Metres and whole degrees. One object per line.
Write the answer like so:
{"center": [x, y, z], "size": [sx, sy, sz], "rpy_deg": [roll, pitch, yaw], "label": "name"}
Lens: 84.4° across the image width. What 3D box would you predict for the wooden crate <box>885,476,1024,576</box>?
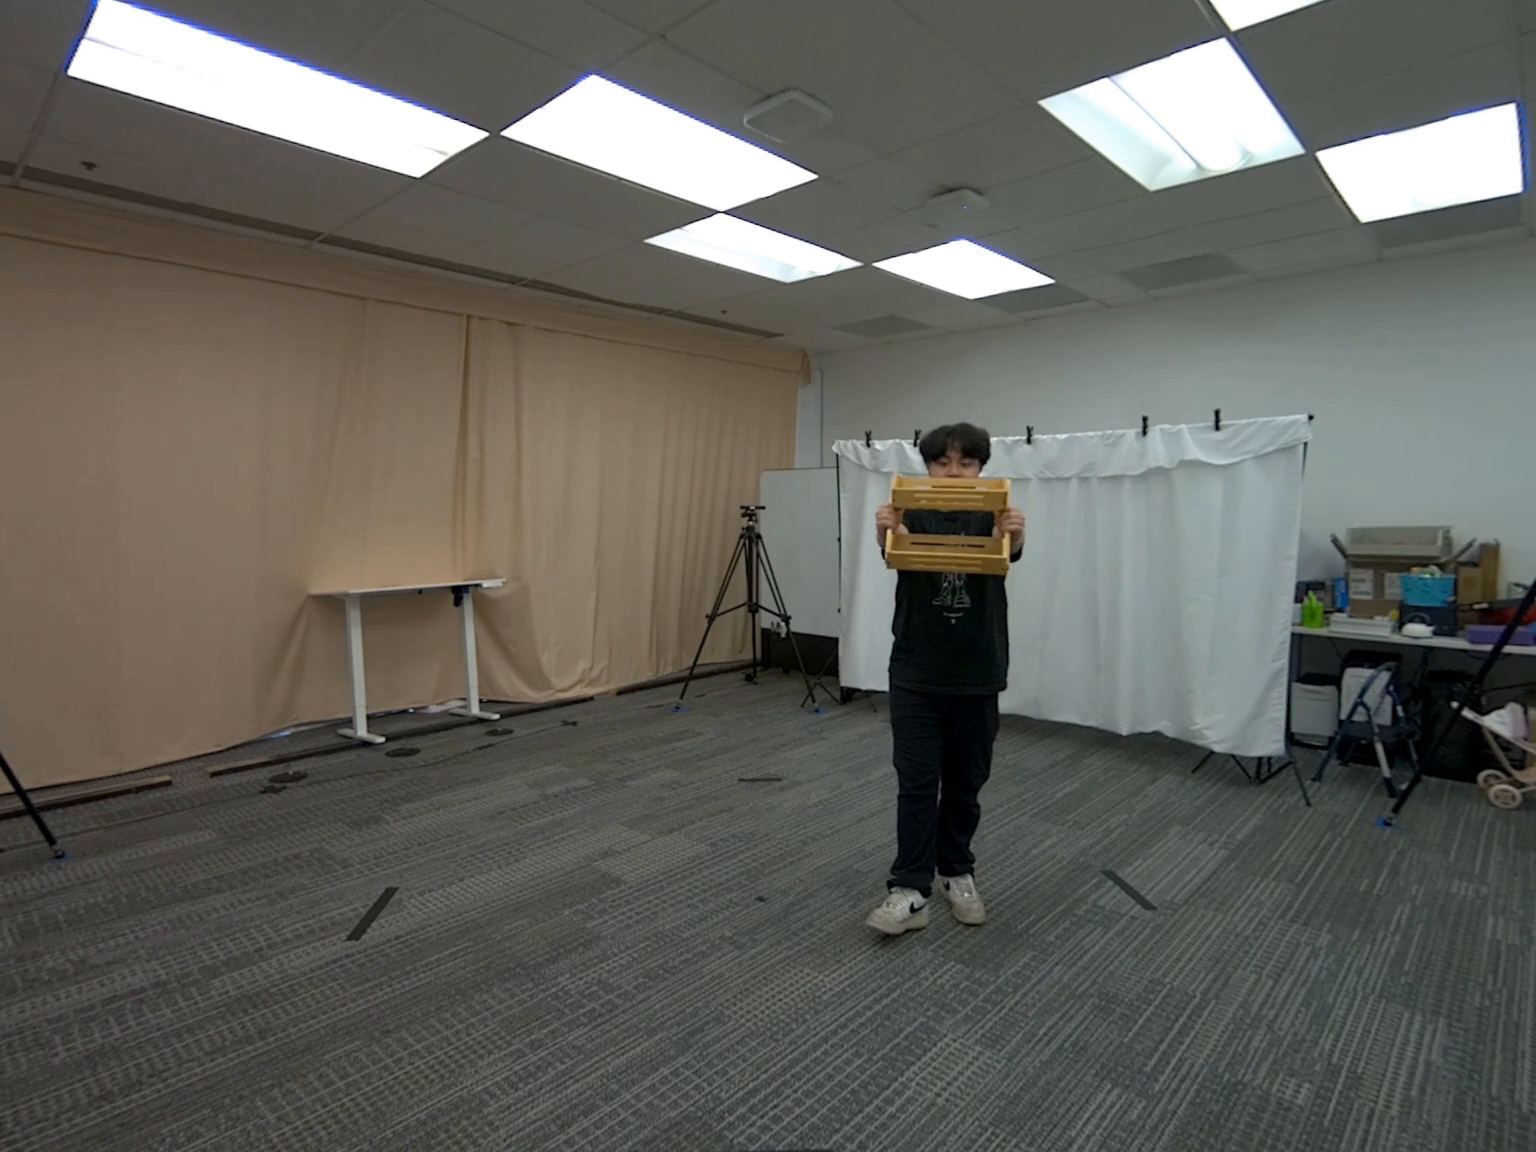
{"center": [0.506, -0.149, 2.305], "size": [0.330, 0.273, 0.298], "rpy_deg": [3, 3, 14], "label": "wooden crate"}
